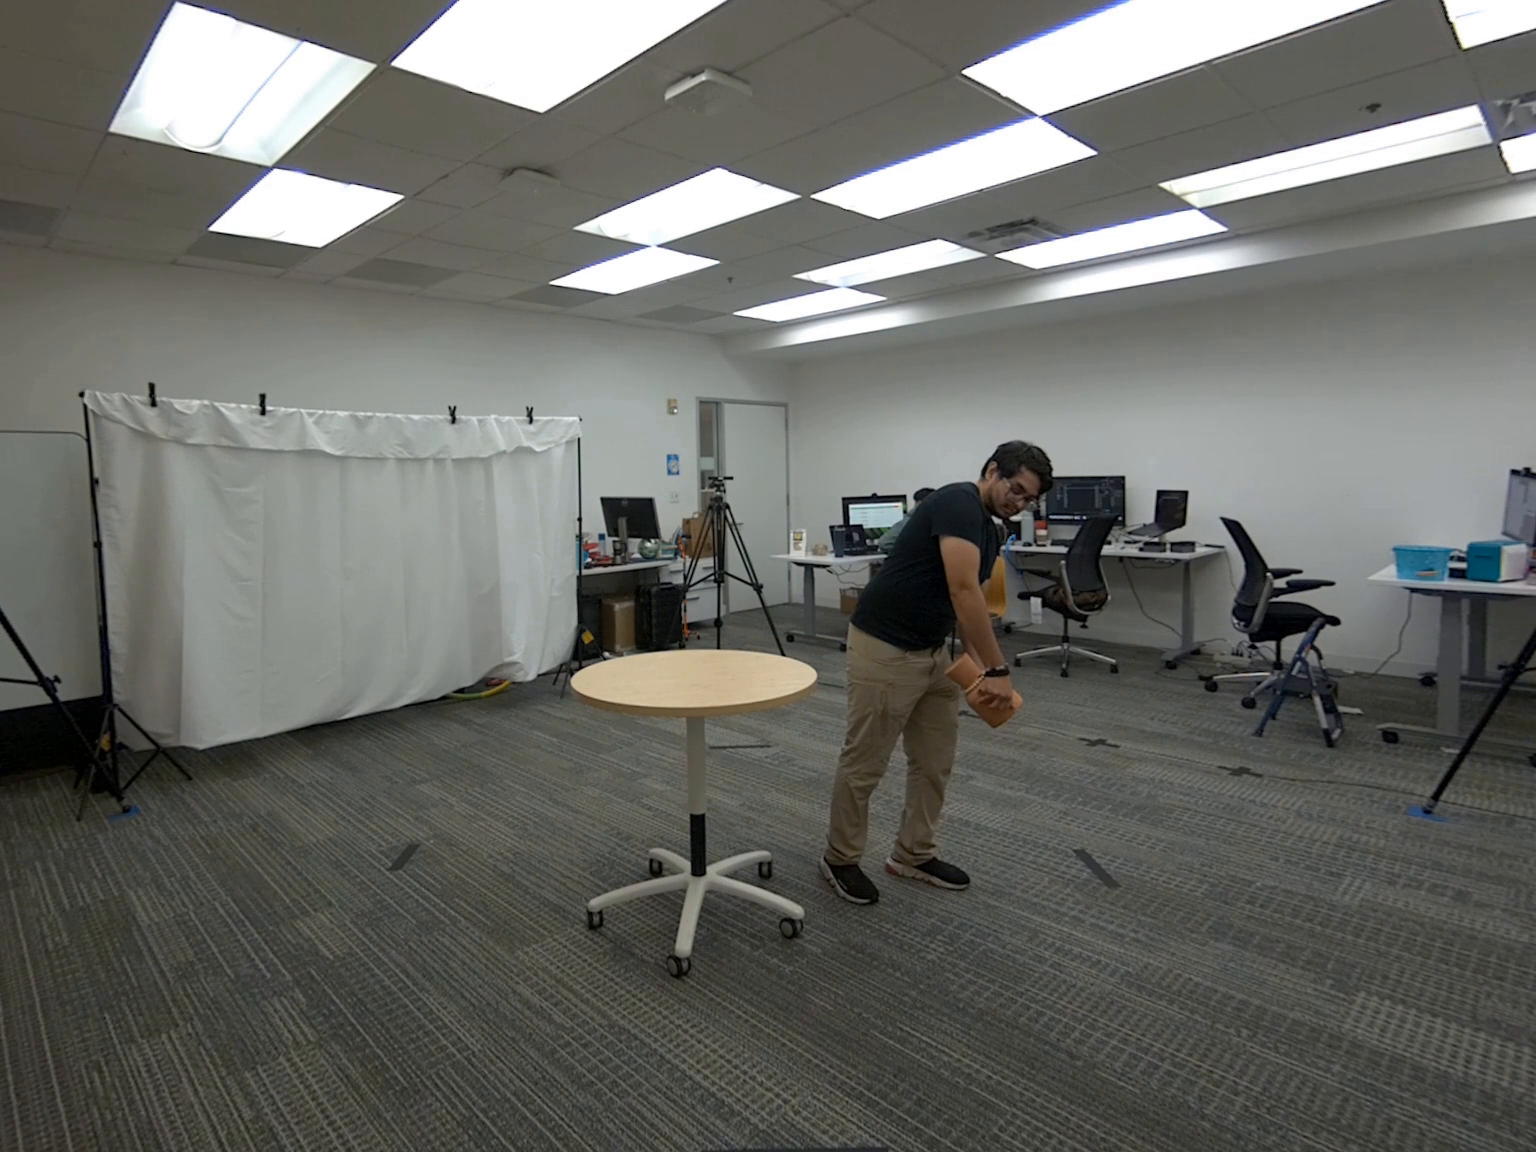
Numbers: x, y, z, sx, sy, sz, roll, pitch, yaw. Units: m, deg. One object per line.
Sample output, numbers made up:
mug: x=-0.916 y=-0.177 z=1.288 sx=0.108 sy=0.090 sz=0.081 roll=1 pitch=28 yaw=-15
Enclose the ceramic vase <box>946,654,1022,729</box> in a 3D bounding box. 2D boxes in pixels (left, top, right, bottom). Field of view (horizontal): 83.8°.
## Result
ceramic vase: x=0.666 y=0.352 z=2.686 sx=0.134 sy=0.223 sz=0.158 roll=-38 pitch=-13 yaw=-45
